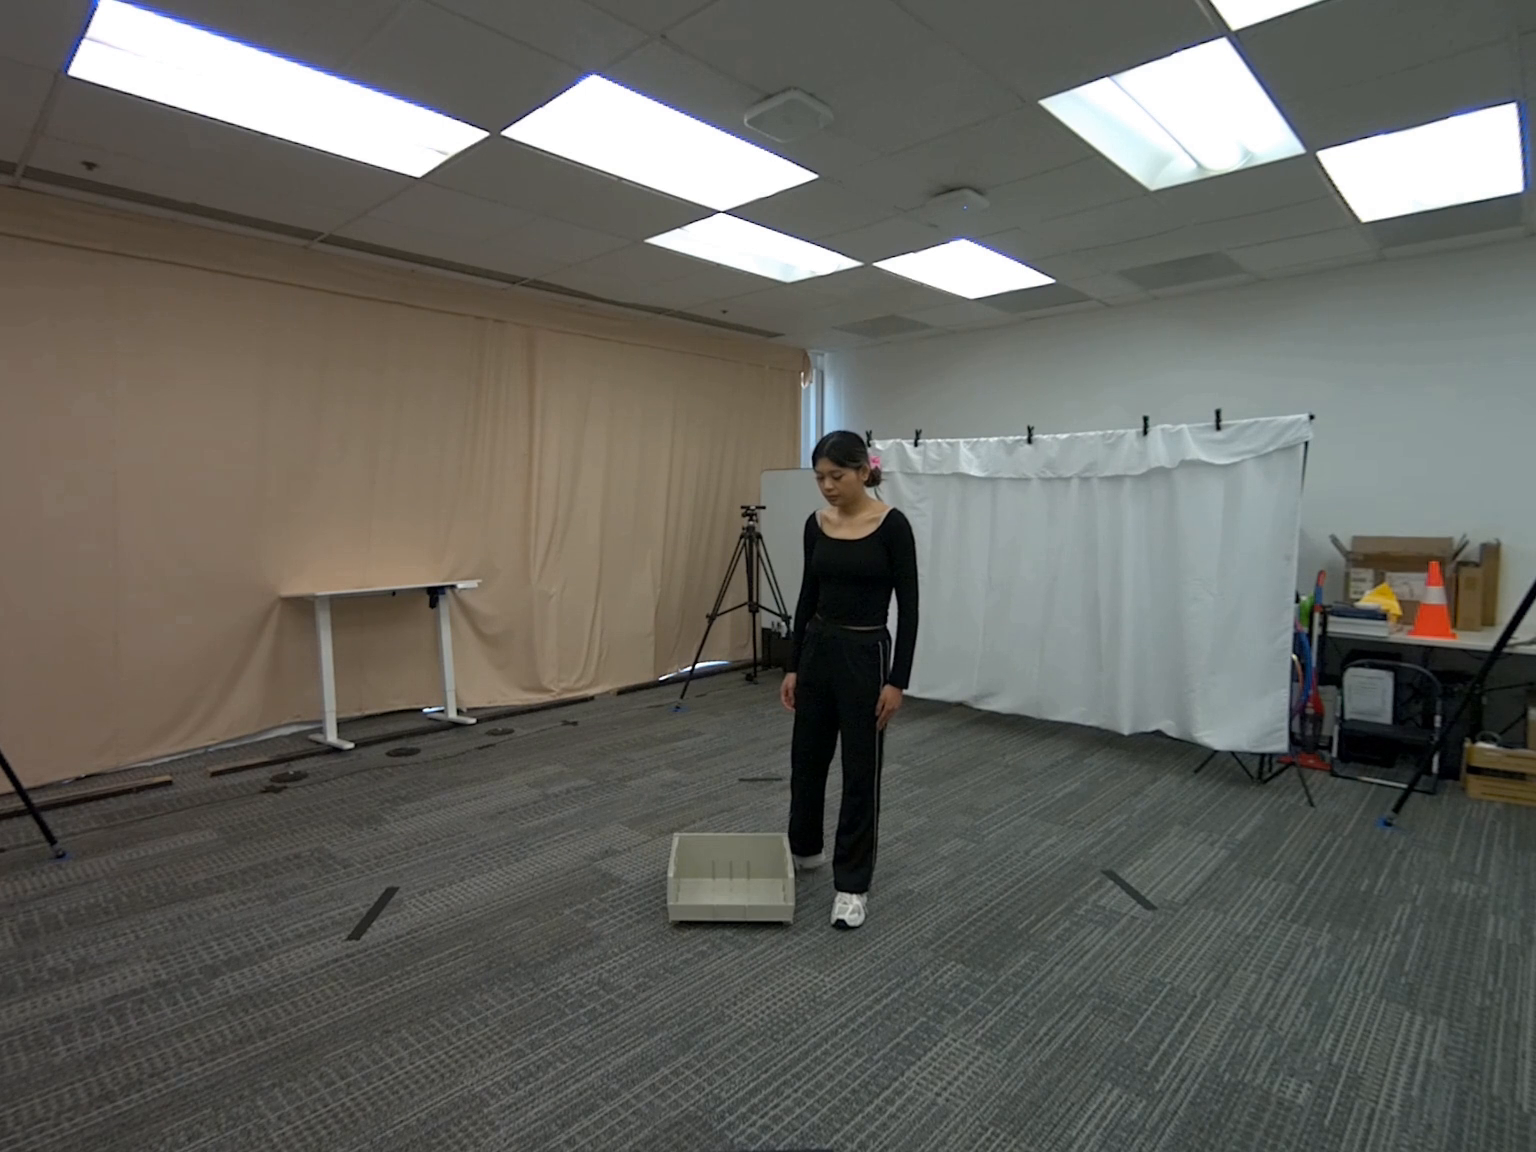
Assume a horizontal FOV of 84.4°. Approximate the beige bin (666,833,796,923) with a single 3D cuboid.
[{"bbox_3d":[-0.129,1.064,2.932,0.422,0.188,0.378,-1,4,-1],"label":"beige bin"}]
